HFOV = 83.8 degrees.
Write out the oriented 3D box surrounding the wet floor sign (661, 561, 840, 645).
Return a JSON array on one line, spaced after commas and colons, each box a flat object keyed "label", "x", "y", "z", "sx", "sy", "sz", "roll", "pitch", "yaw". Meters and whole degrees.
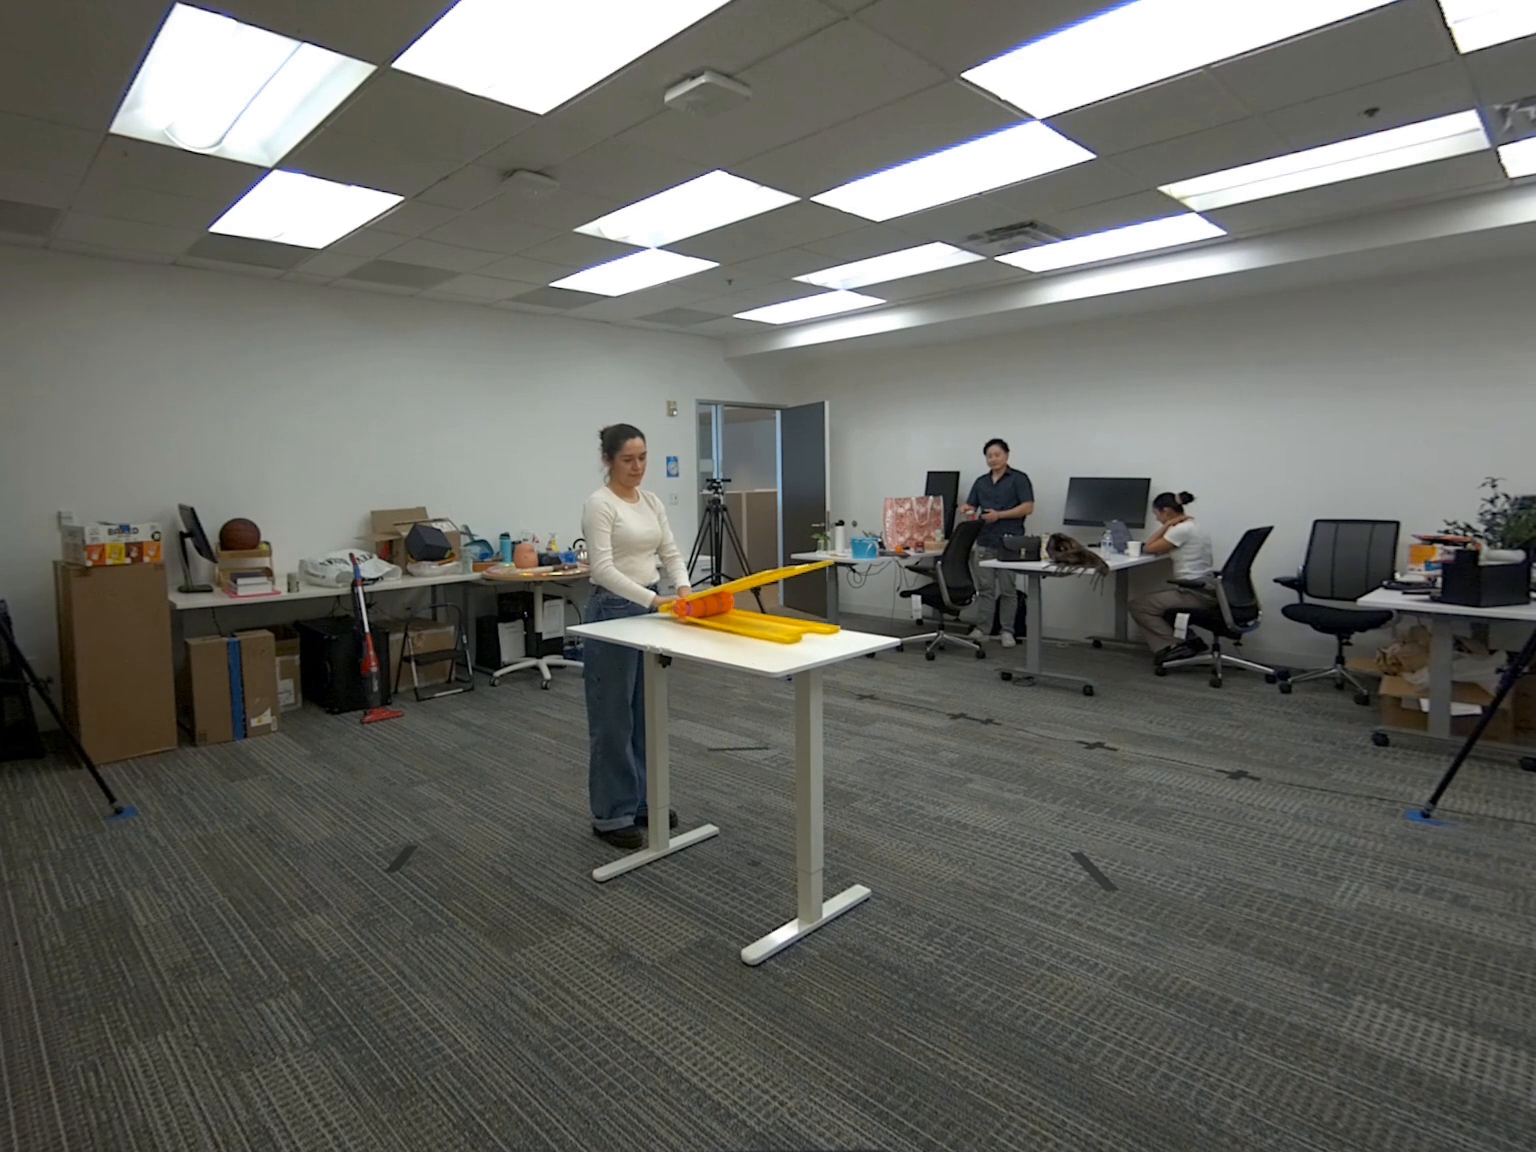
[{"label": "wet floor sign", "x": -0.107, "y": 0.105, "z": 2.986, "sx": 0.663, "sy": 0.289, "sz": 0.275, "roll": -4, "pitch": 2, "yaw": 43}]
